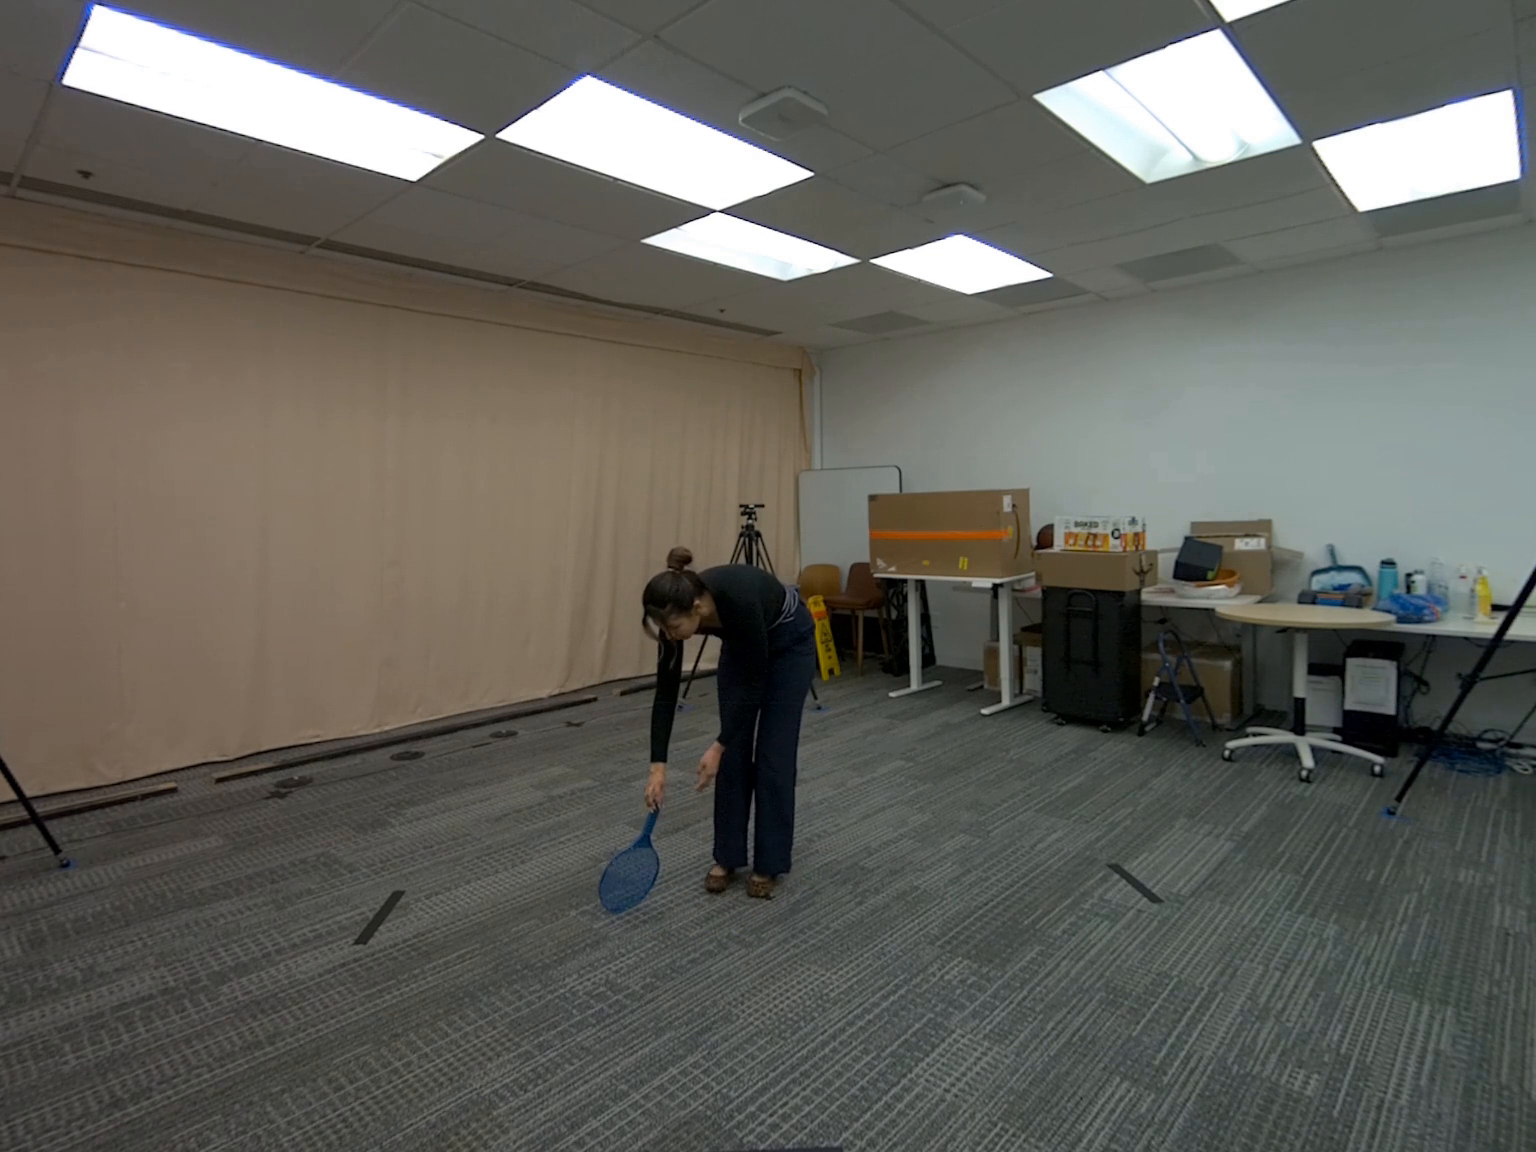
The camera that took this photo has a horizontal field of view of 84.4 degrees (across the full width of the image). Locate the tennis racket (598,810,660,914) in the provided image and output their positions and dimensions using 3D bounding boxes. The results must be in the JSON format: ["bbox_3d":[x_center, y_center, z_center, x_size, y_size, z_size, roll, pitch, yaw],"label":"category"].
[{"bbox_3d":[-0.447,0.956,2.868,0.207,0.432,0.033,16,10,-32],"label":"tennis racket"}]
